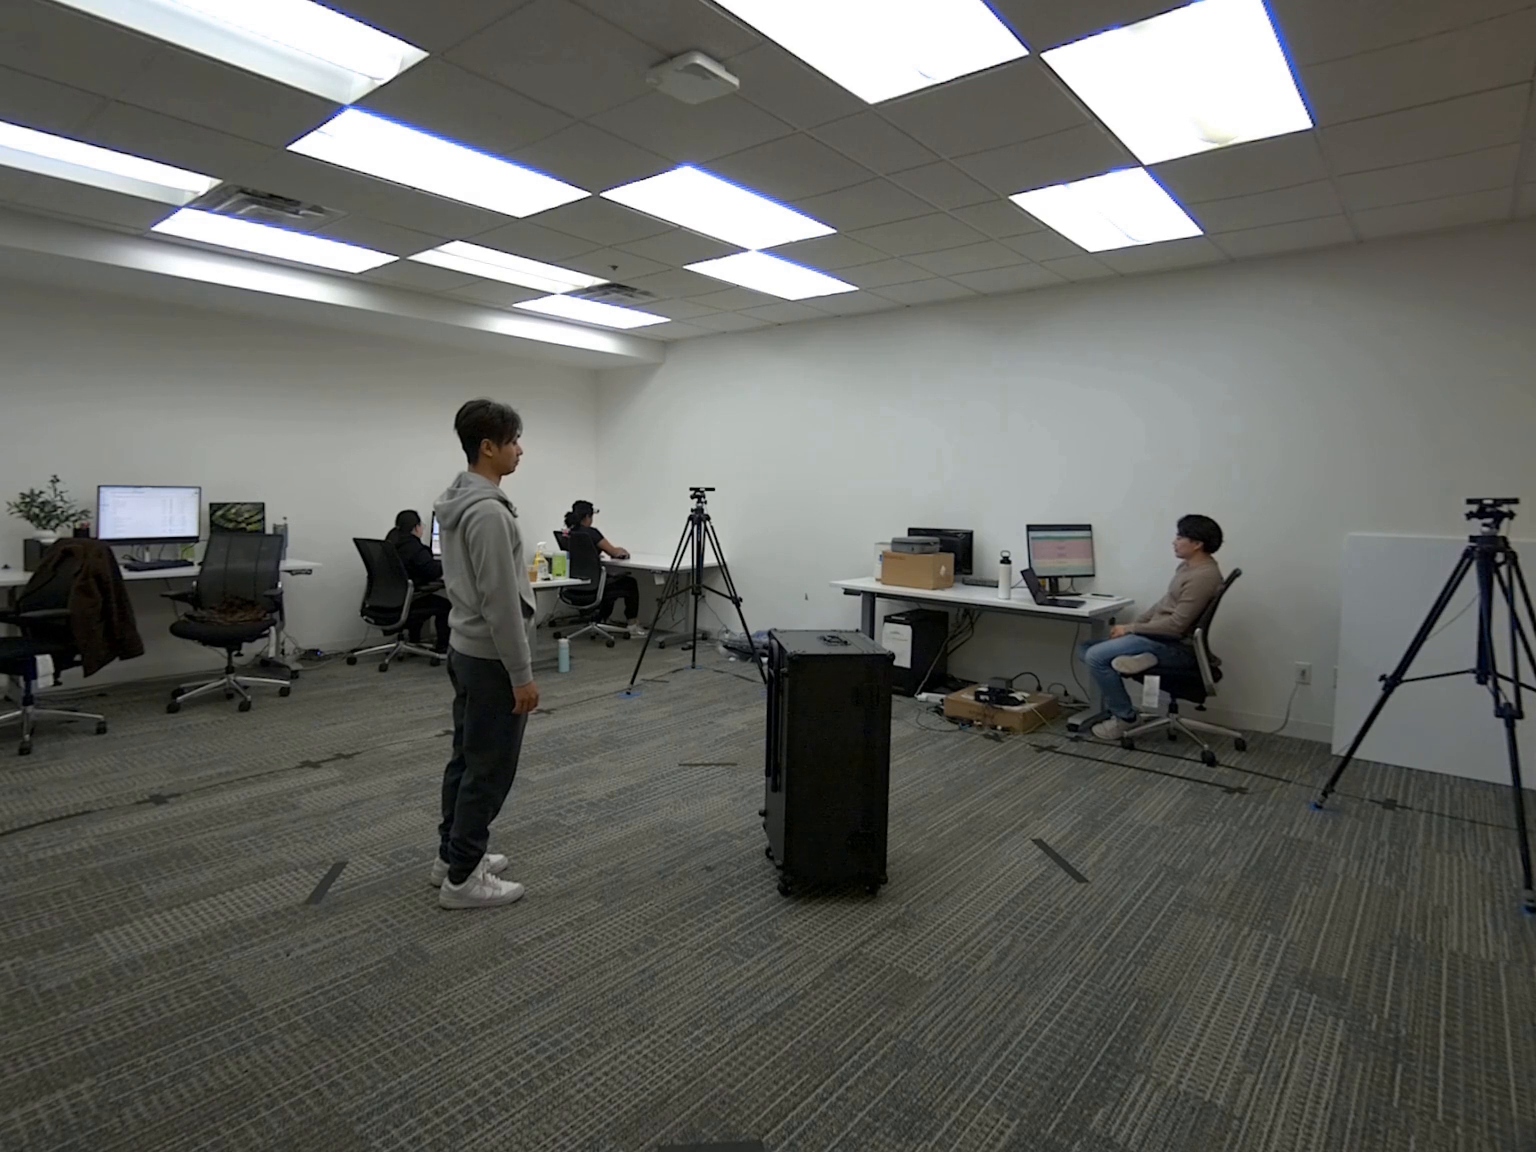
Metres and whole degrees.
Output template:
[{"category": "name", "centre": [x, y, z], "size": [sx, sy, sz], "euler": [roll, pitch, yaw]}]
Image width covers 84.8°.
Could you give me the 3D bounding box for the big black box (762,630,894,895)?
[{"category": "big black box", "centre": [0.187, 0.662, 3.063], "size": [0.394, 0.858, 0.527], "euler": [0, 5, -7]}]
